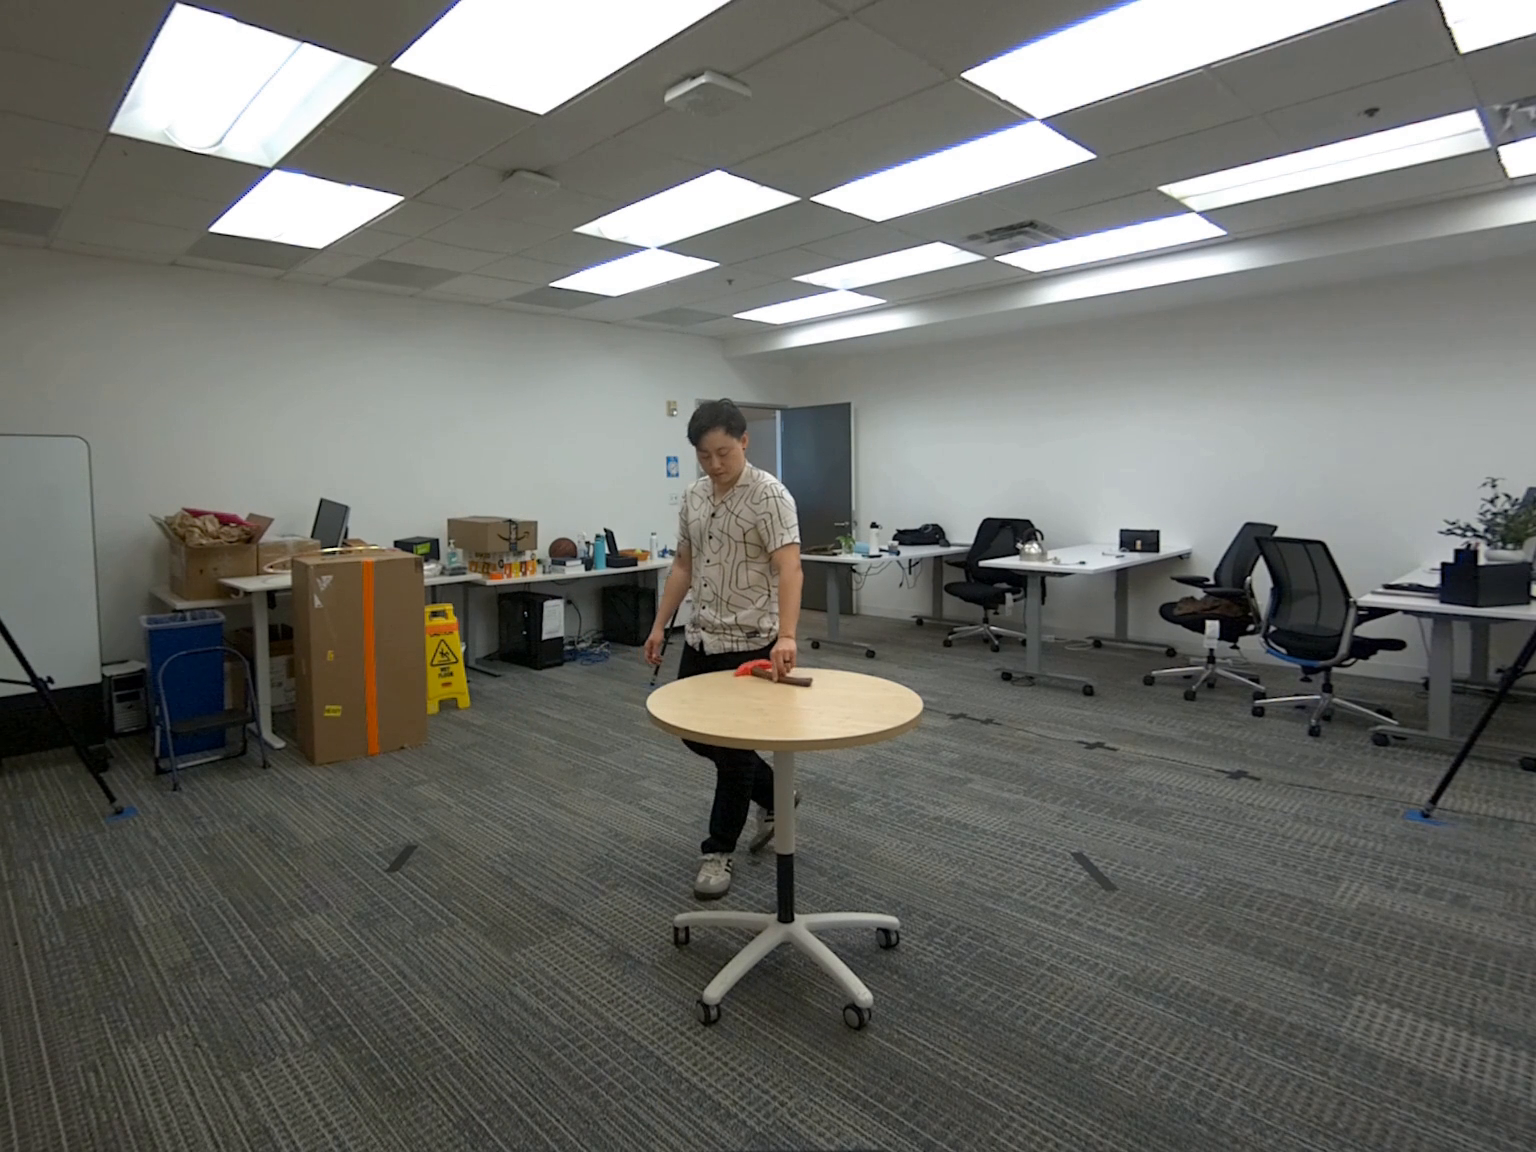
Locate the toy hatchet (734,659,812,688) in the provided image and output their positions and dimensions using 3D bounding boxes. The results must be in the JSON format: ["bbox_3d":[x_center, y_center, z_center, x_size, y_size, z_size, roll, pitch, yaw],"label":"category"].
[{"bbox_3d":[0.040,0.304,2.630,0.278,0.029,0.129,5,18,33],"label":"toy hatchet"}]
